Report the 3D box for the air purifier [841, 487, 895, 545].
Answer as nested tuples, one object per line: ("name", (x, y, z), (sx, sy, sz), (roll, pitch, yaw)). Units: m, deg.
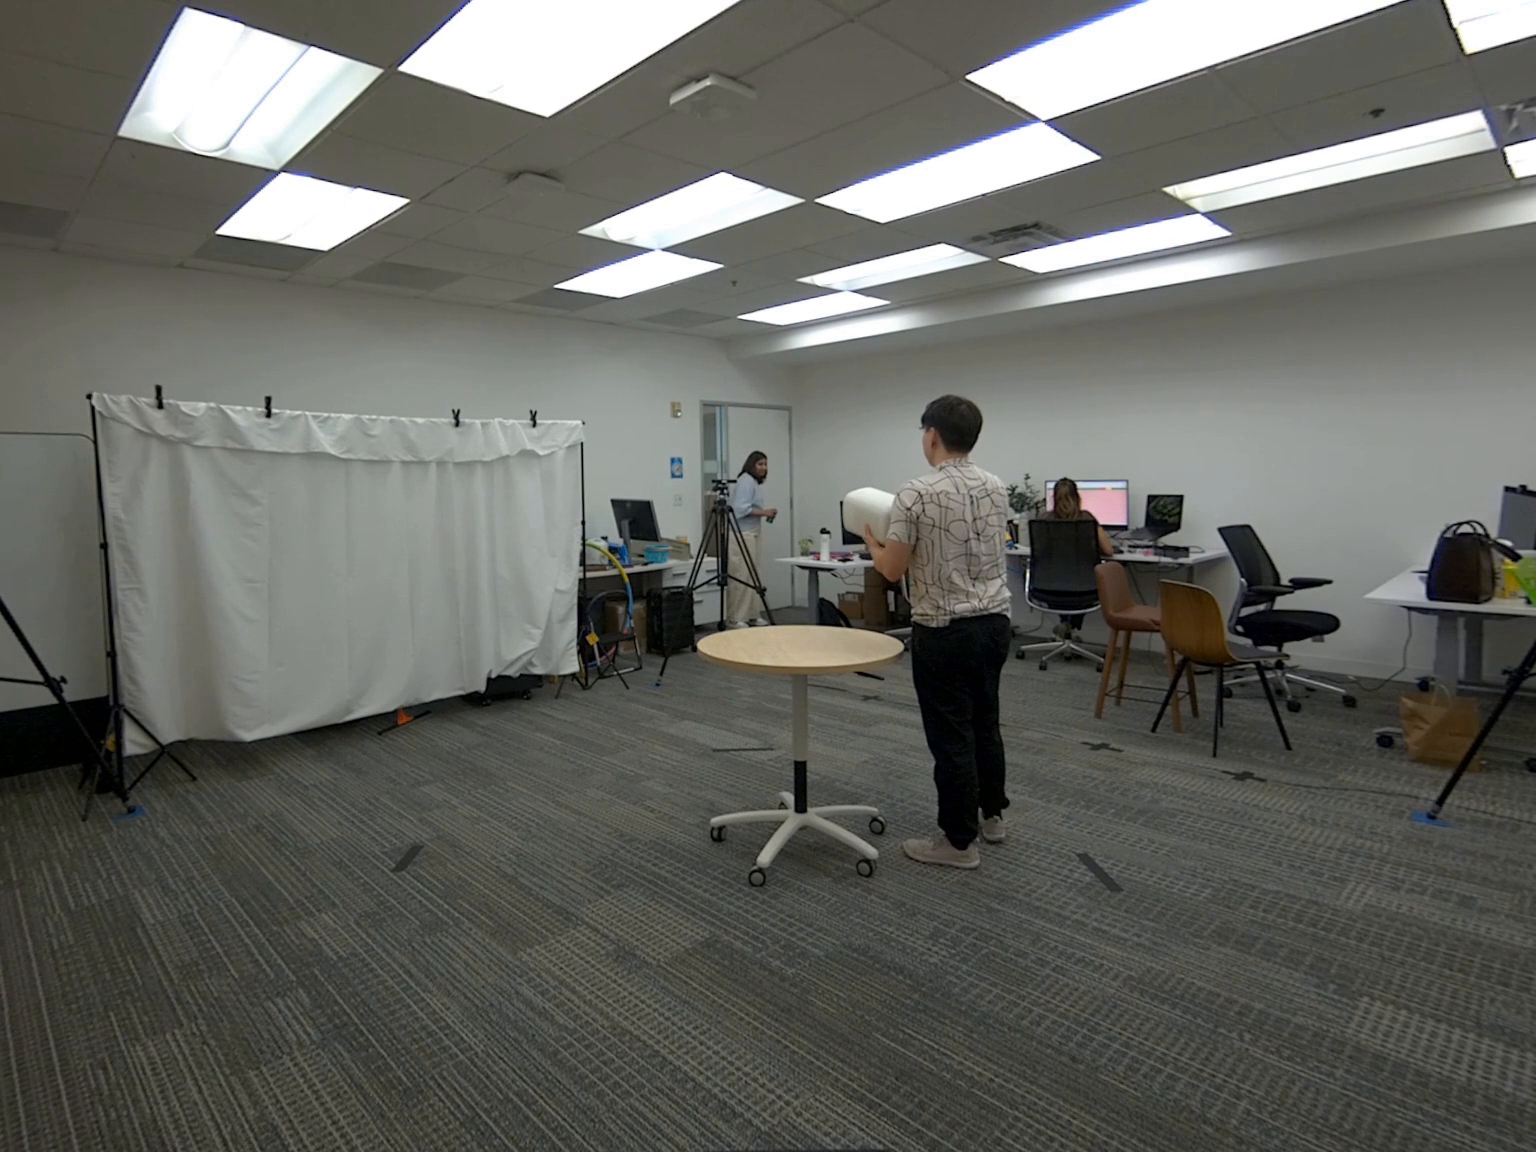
("air purifier", (0.446, -0.230, 3.322), (0.168, 0.168, 0.275), (-14, 24, -28))
